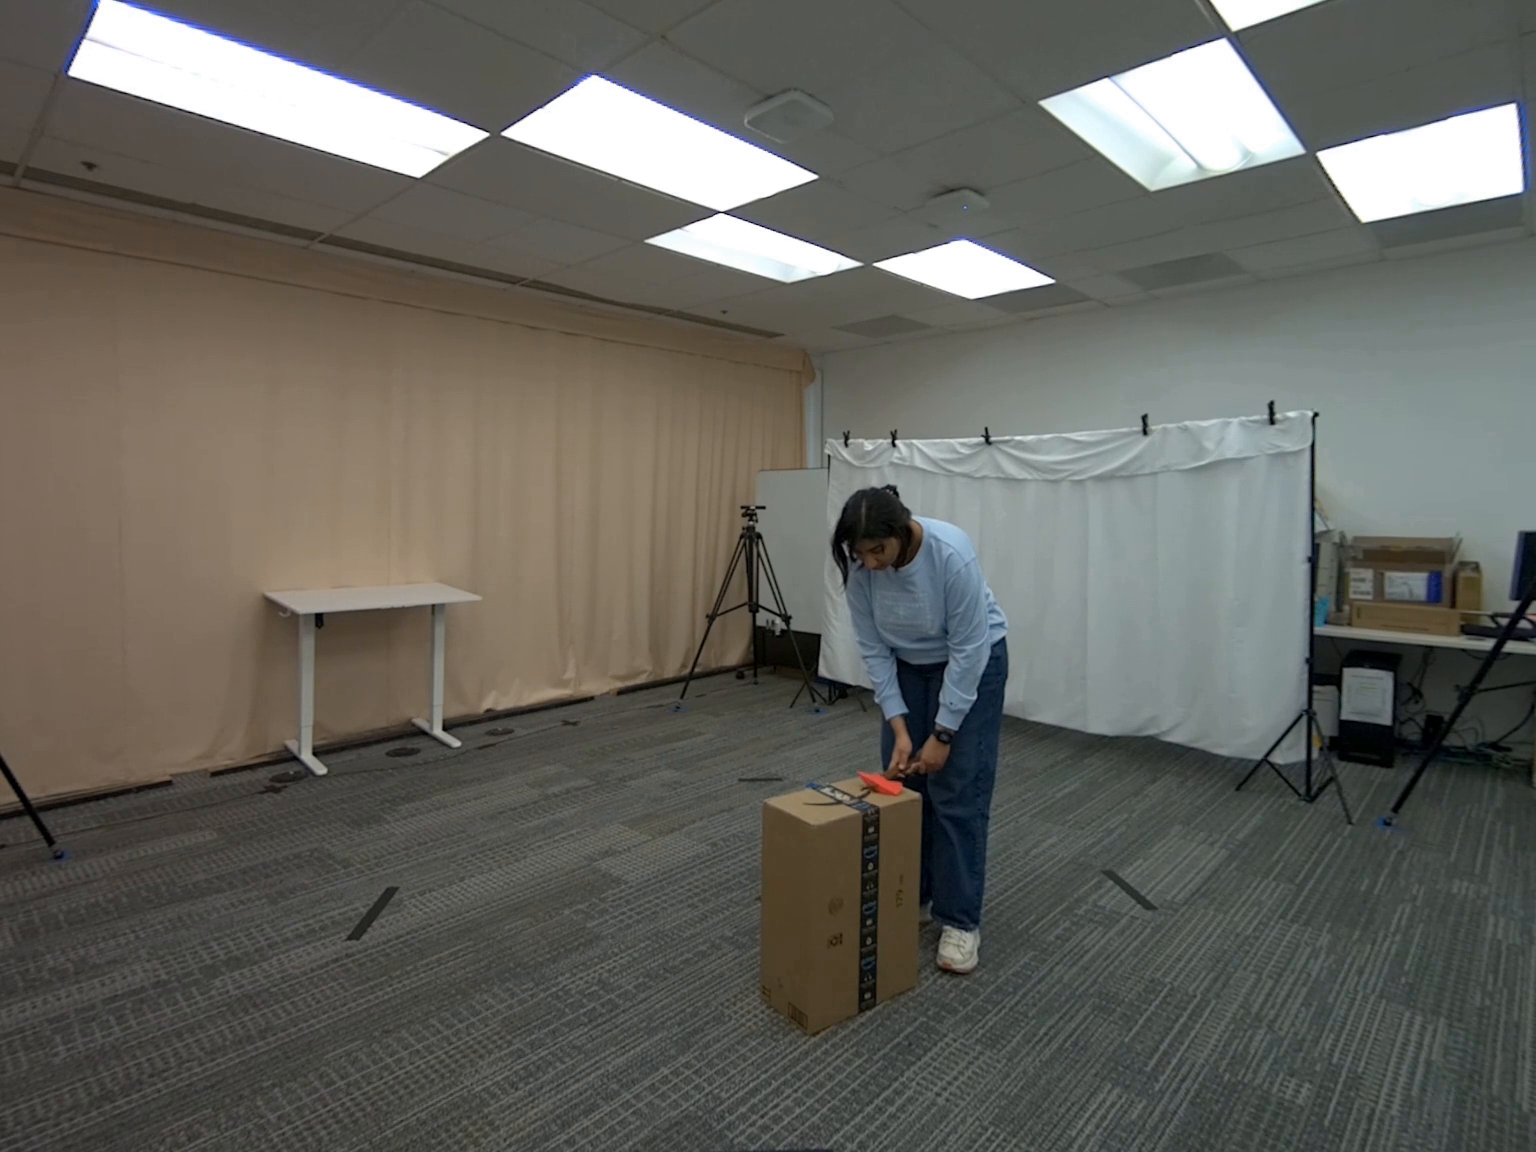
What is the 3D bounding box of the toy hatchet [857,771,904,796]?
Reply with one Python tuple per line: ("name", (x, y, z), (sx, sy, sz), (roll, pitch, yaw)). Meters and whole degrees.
("toy hatchet", (0.417, 0.600, 2.509), (0.263, 0.029, 0.135), (-4, 19, -28))
